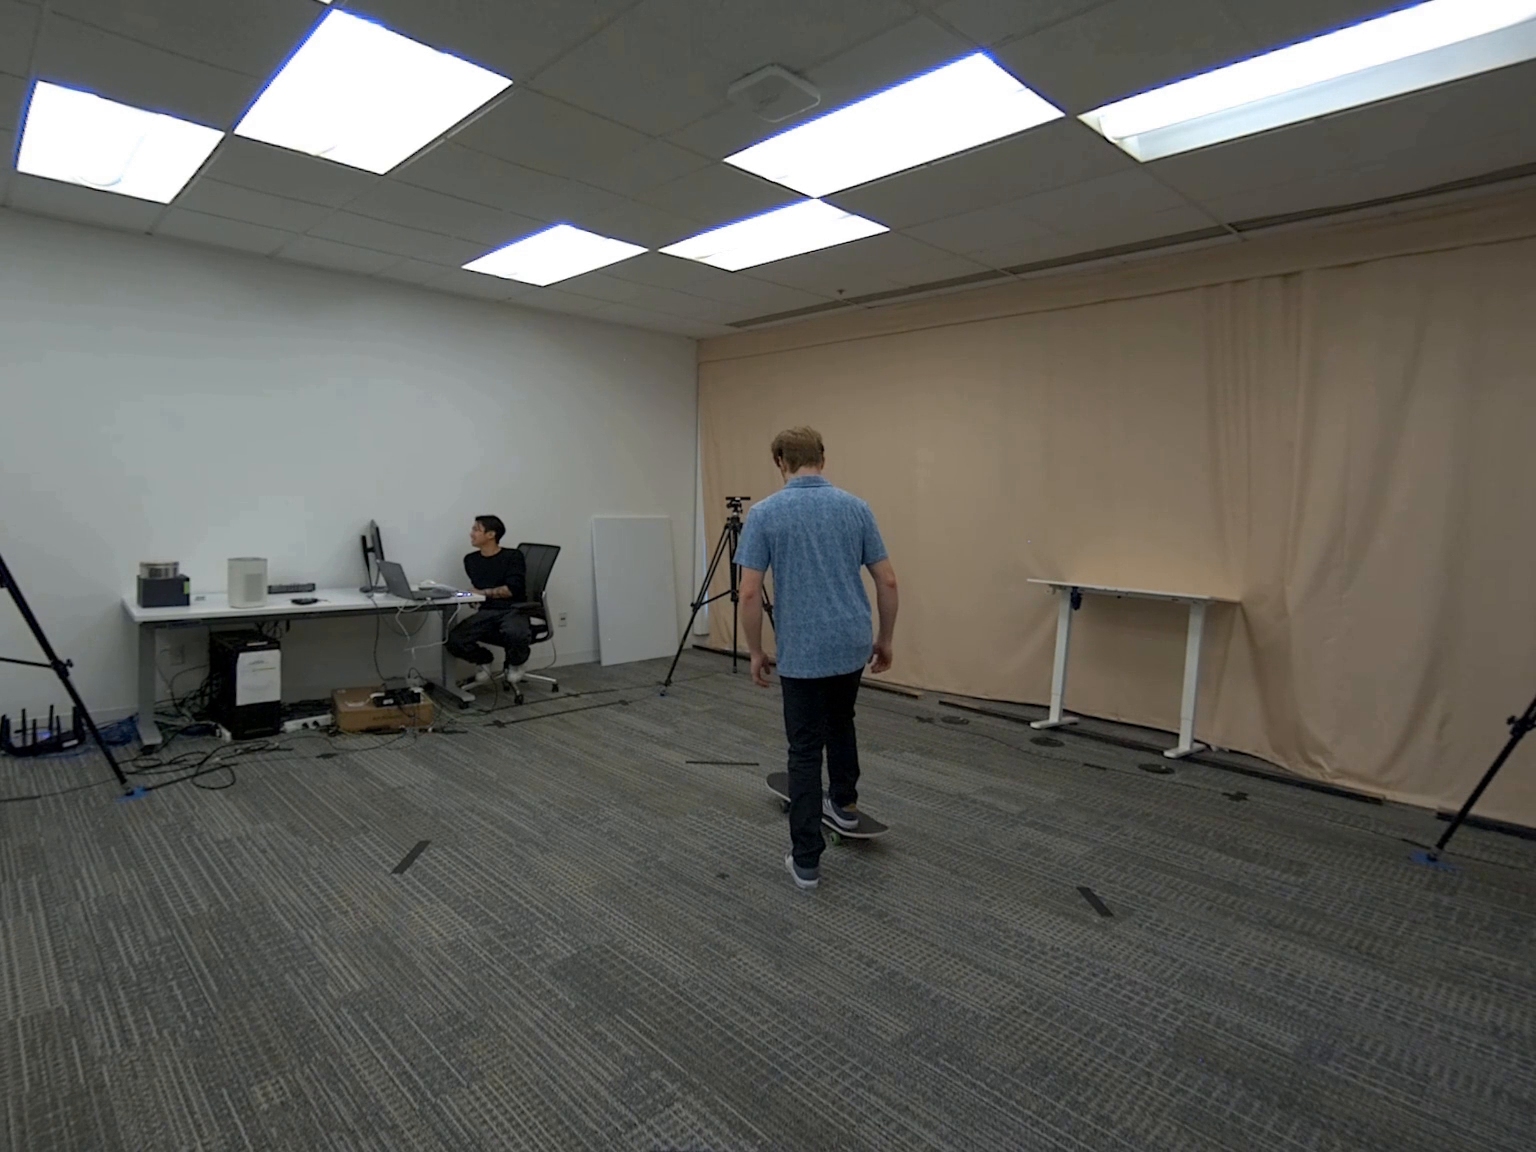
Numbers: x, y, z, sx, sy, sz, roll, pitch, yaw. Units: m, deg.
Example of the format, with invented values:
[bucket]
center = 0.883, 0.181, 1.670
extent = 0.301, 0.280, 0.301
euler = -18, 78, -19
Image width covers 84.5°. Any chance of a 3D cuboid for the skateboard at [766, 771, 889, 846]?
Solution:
[skateboard]
center = 0.225, 1.014, 3.623
extent = 0.190, 0.110, 0.803
euler = -1, 6, -30
